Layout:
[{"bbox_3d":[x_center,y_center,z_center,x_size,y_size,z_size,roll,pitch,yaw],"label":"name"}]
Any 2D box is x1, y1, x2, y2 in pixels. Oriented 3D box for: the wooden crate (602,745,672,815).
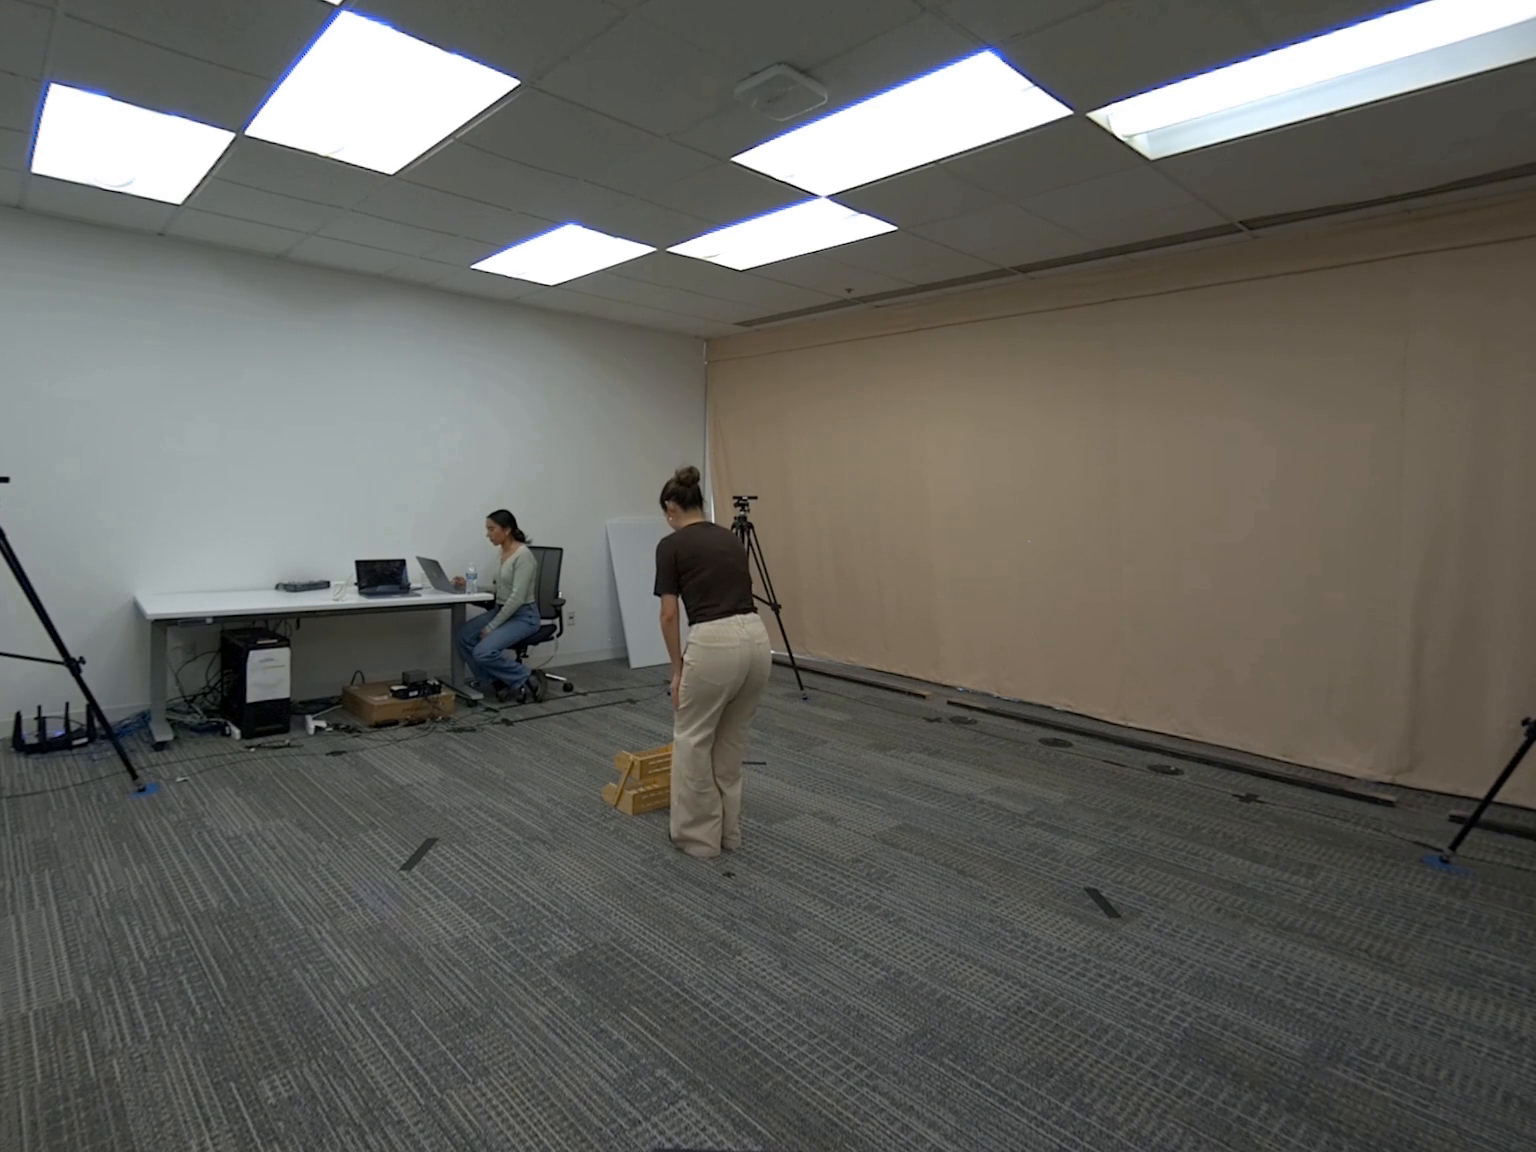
[{"bbox_3d":[-0.559,0.898,3.834,0.317,0.272,0.310,-2,6,-43],"label":"wooden crate"}]
